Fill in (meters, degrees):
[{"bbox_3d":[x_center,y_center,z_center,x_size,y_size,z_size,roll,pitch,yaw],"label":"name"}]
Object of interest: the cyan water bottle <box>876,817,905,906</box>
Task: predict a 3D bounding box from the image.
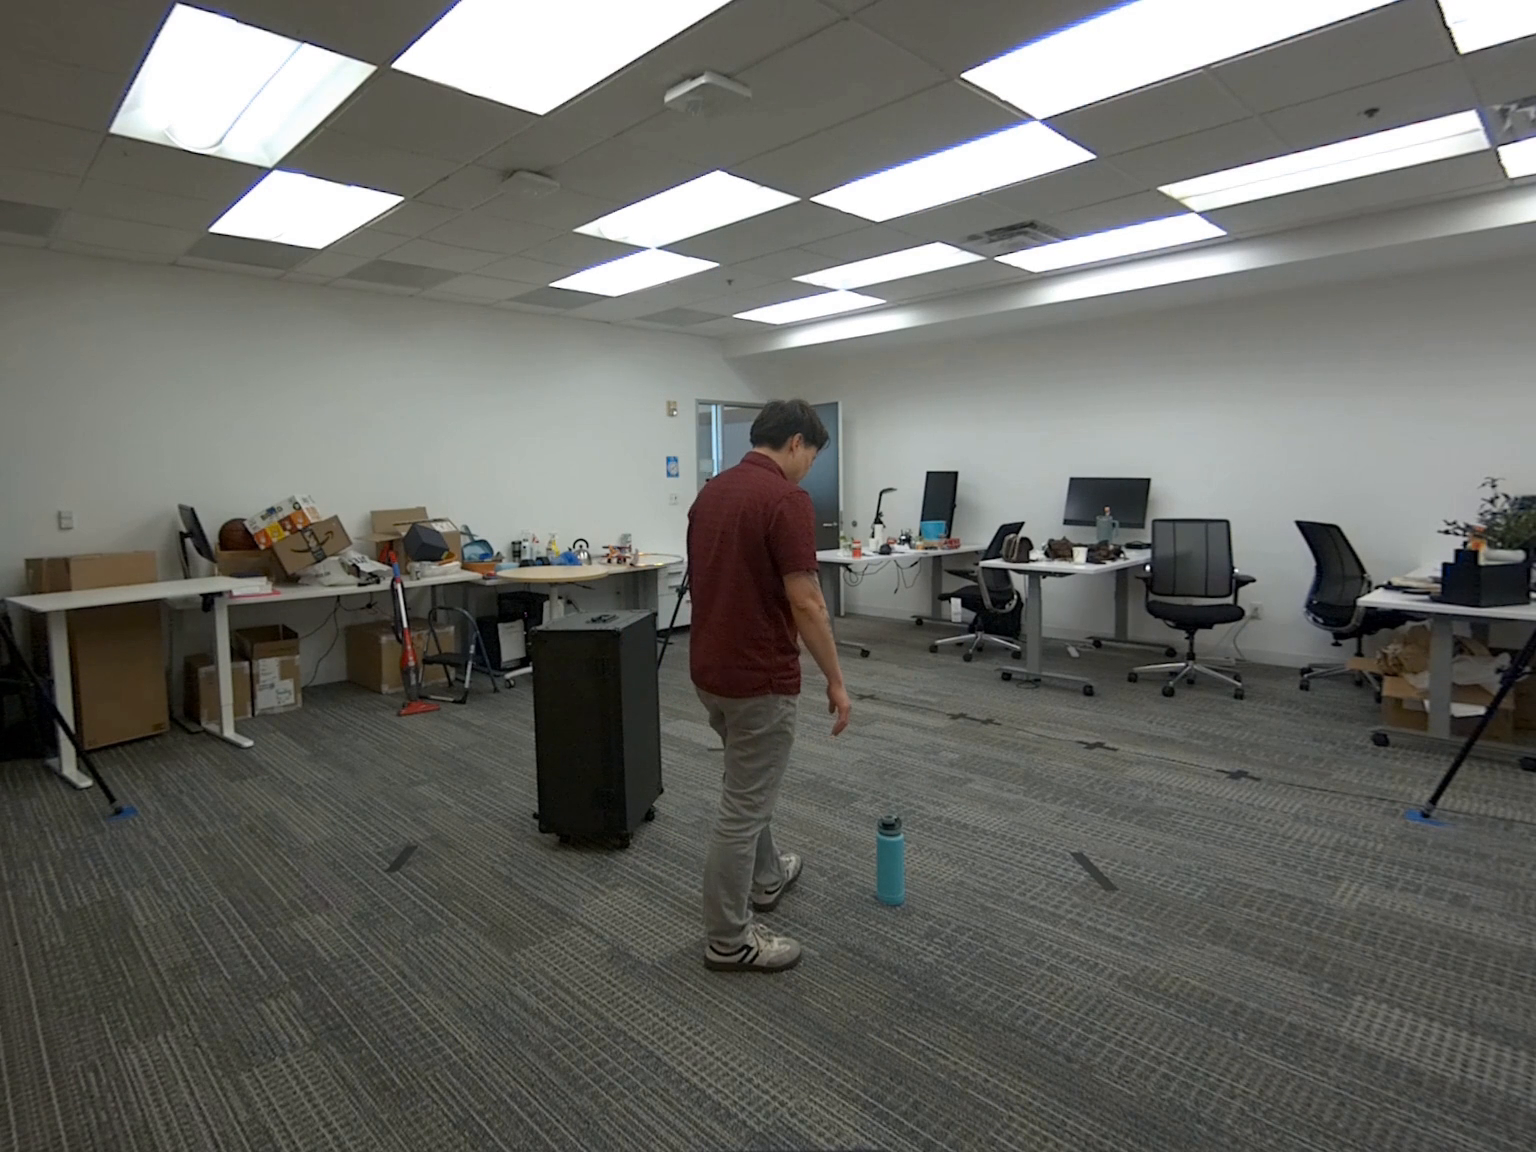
[{"bbox_3d":[0.411,0.930,2.816,0.092,0.282,0.092,-2,3,-2],"label":"cyan water bottle"}]
